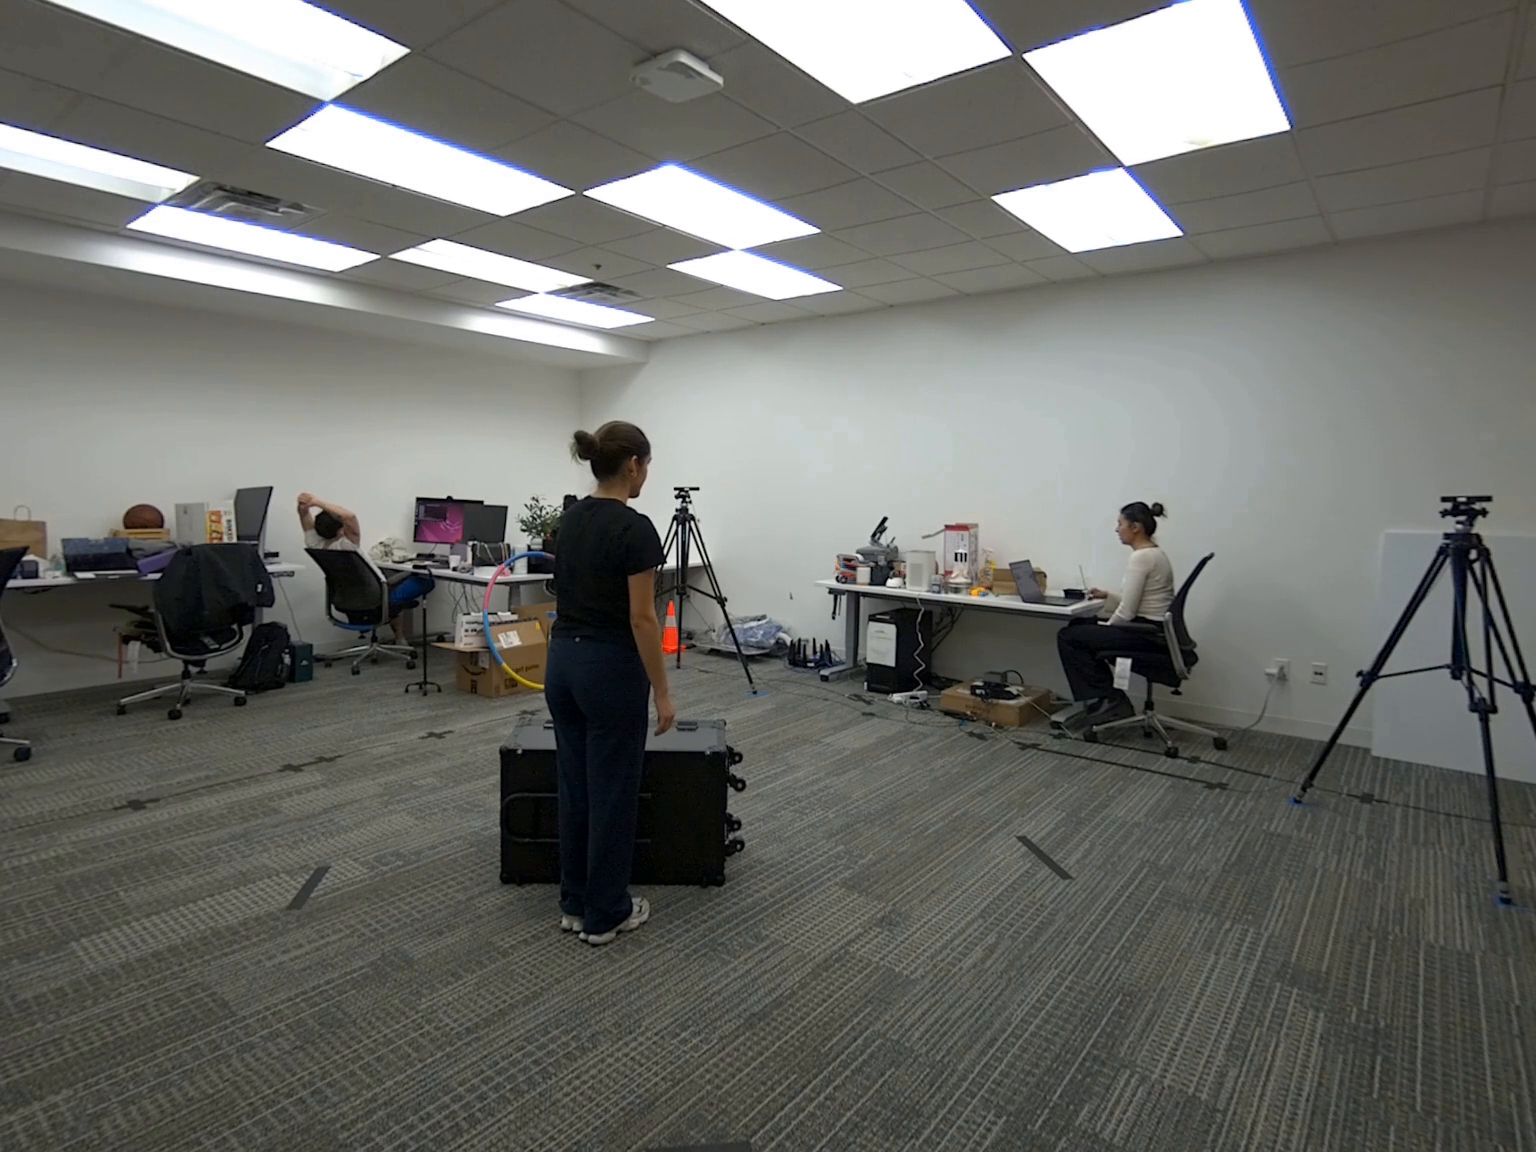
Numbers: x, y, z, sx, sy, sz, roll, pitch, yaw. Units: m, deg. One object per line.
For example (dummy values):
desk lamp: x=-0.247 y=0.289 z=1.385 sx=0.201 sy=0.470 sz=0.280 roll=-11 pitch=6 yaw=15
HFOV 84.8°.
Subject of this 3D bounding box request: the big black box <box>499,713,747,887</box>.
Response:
big black box: x=-0.506 y=0.802 z=3.122 sx=0.861 sy=0.518 sz=0.399 roll=1 pitch=6 yaw=-1
